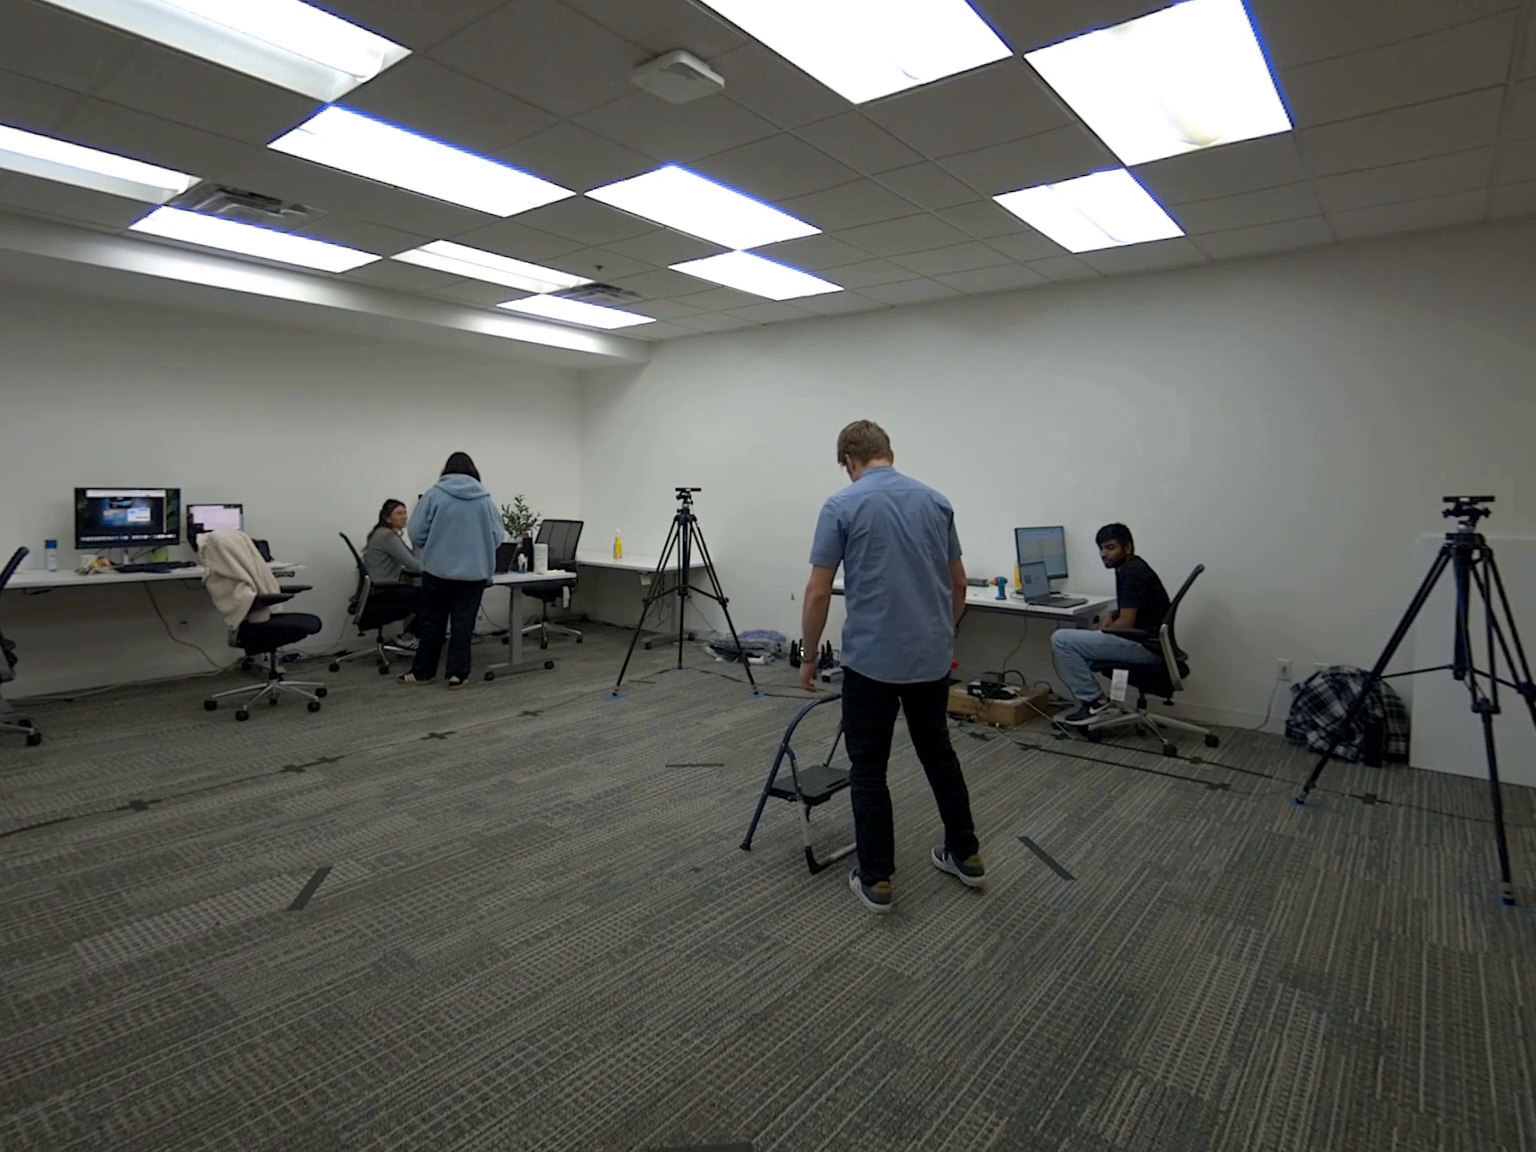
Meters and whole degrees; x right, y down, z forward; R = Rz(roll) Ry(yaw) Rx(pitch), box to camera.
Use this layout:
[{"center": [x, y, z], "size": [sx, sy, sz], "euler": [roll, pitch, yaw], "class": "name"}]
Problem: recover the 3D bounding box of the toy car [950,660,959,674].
[{"center": [0.617, 0.314, 3.221], "size": [0.127, 0.084, 0.259], "euler": [25, -14, -21], "class": "toy car"}]
